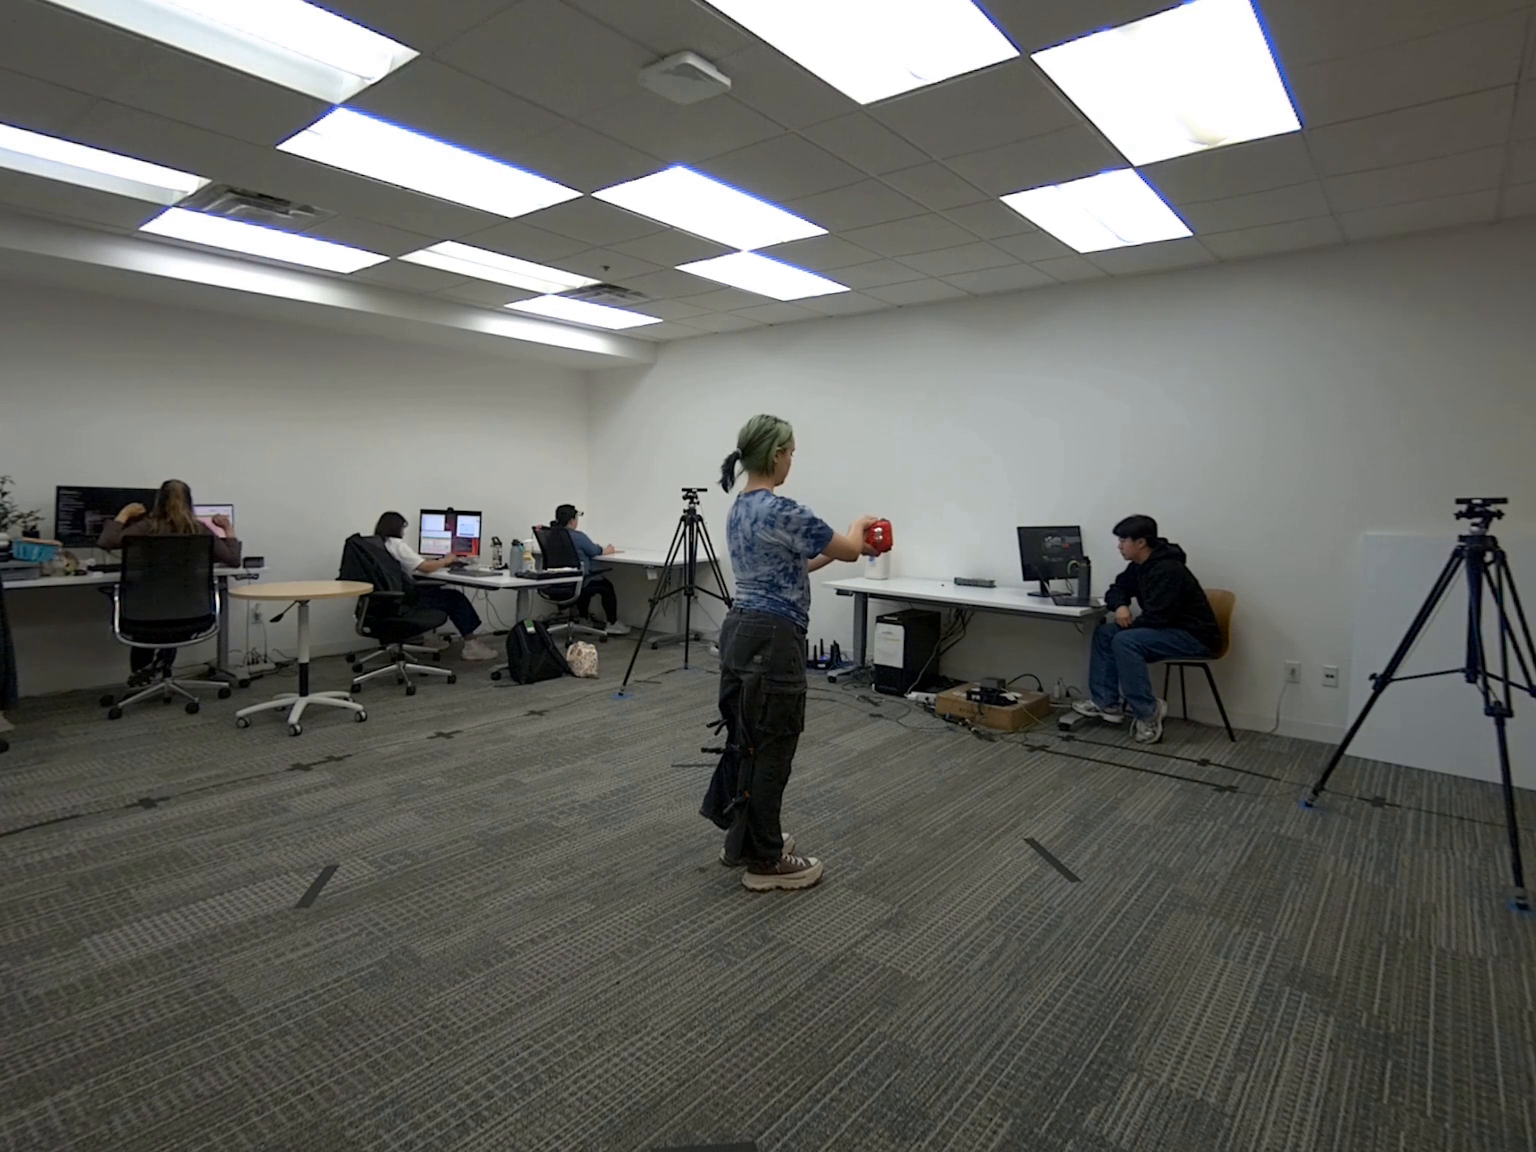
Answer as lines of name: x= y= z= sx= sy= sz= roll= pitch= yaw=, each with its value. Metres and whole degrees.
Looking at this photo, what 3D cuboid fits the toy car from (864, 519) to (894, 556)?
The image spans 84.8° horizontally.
toy car: x=0.400 y=-0.147 z=3.226 sx=0.082 sy=0.130 sz=0.258 roll=-6 pitch=1 yaw=-17
